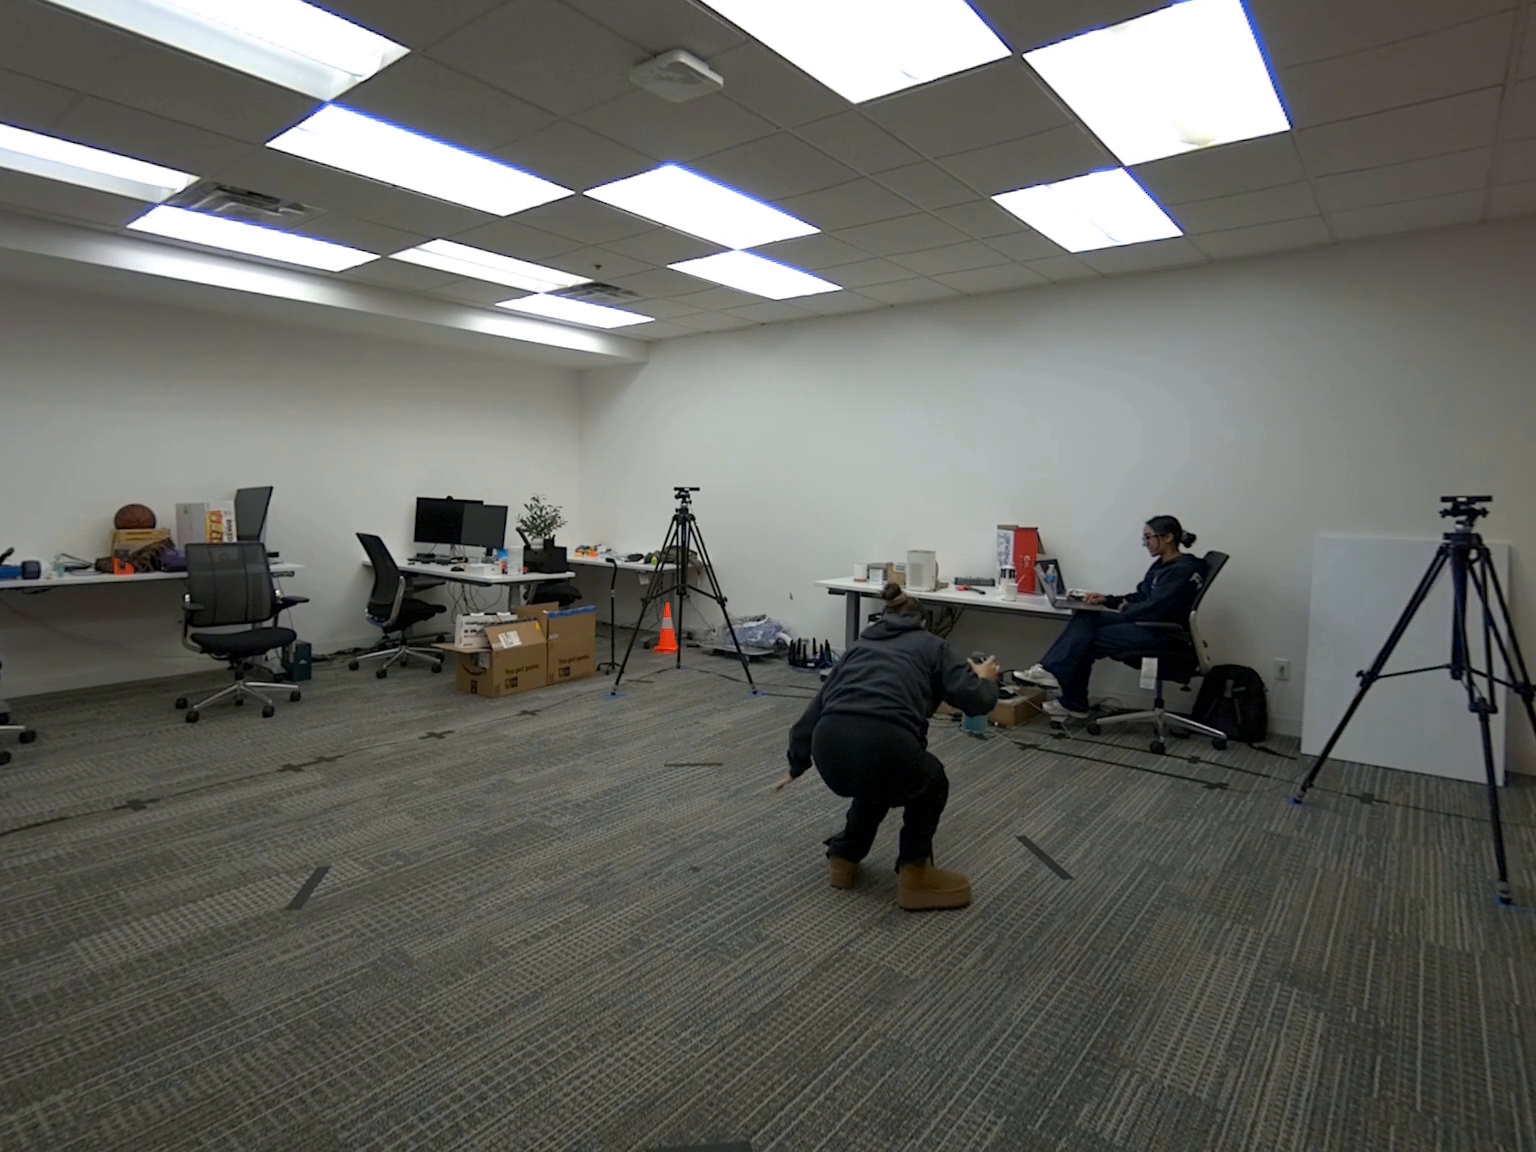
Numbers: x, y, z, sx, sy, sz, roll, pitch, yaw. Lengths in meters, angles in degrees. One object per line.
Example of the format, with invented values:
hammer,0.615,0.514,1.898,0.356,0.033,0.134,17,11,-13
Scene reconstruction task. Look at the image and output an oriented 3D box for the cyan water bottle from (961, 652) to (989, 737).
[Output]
cyan water bottle,0.789,0.420,3.180,0.092,0.283,0.093,4,3,-2
